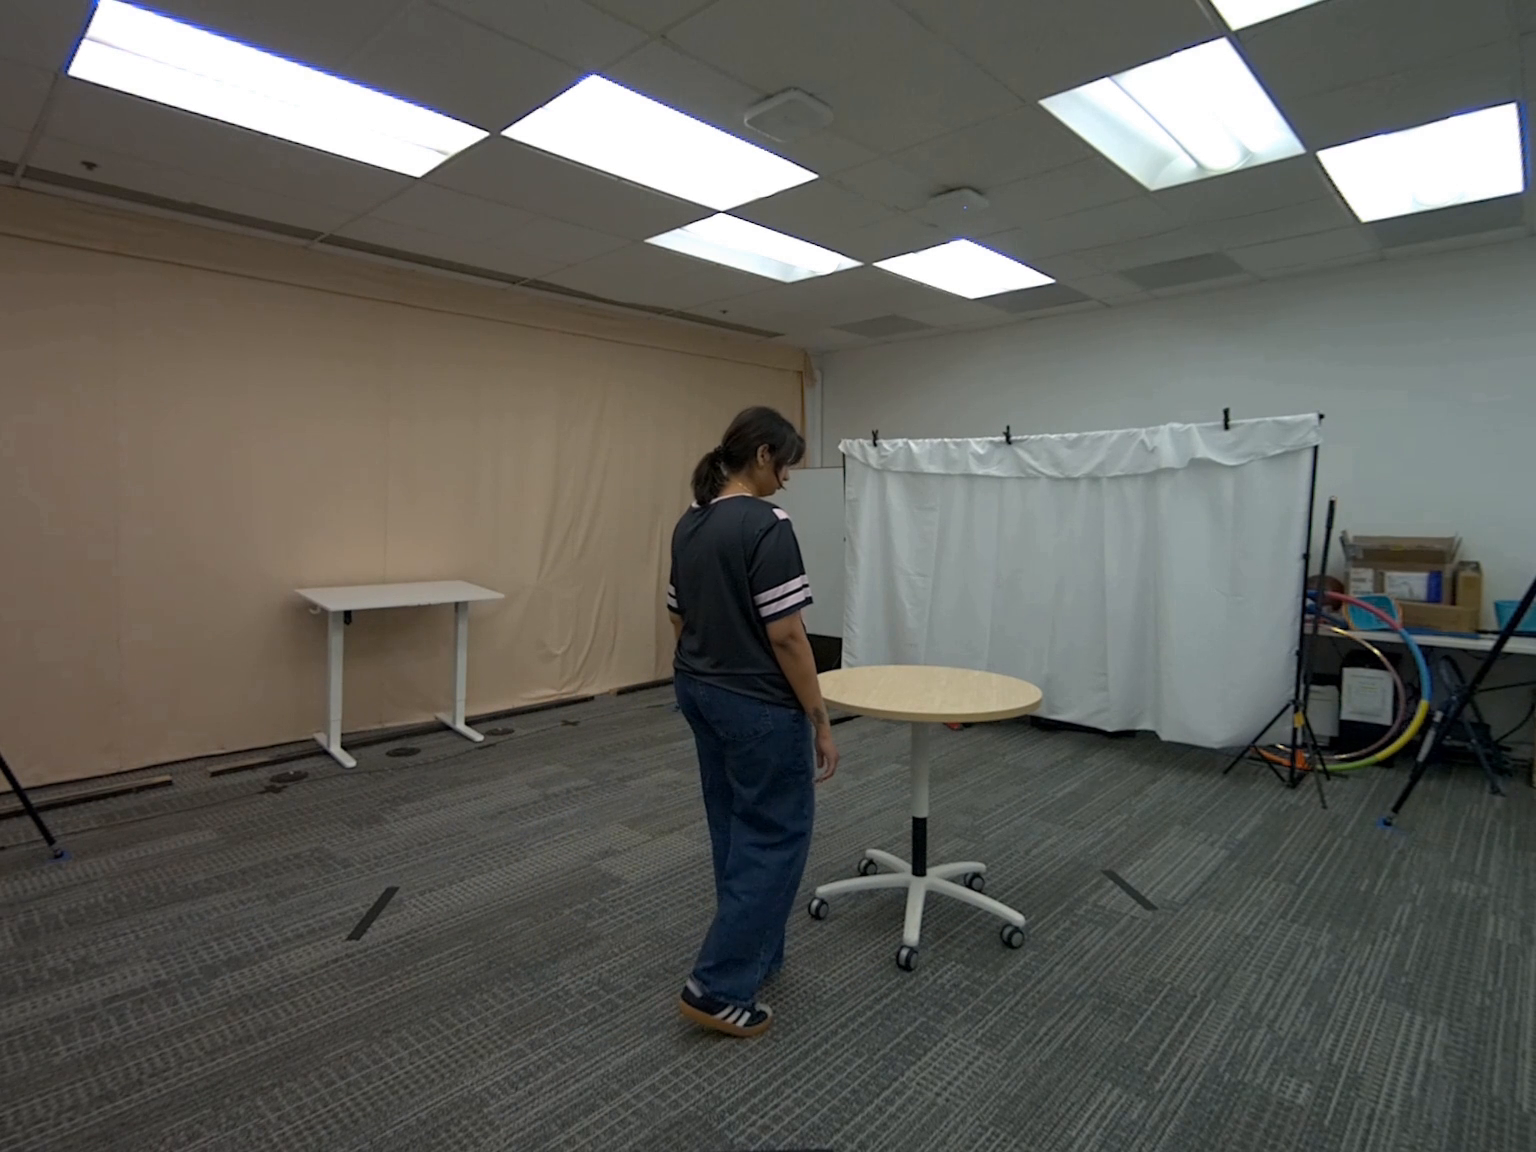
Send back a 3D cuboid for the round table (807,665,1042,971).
[{"bbox_3d":[0.515,0.765,2.839,0.763,0.792,0.766,0,4,-2],"label":"round table"}]
